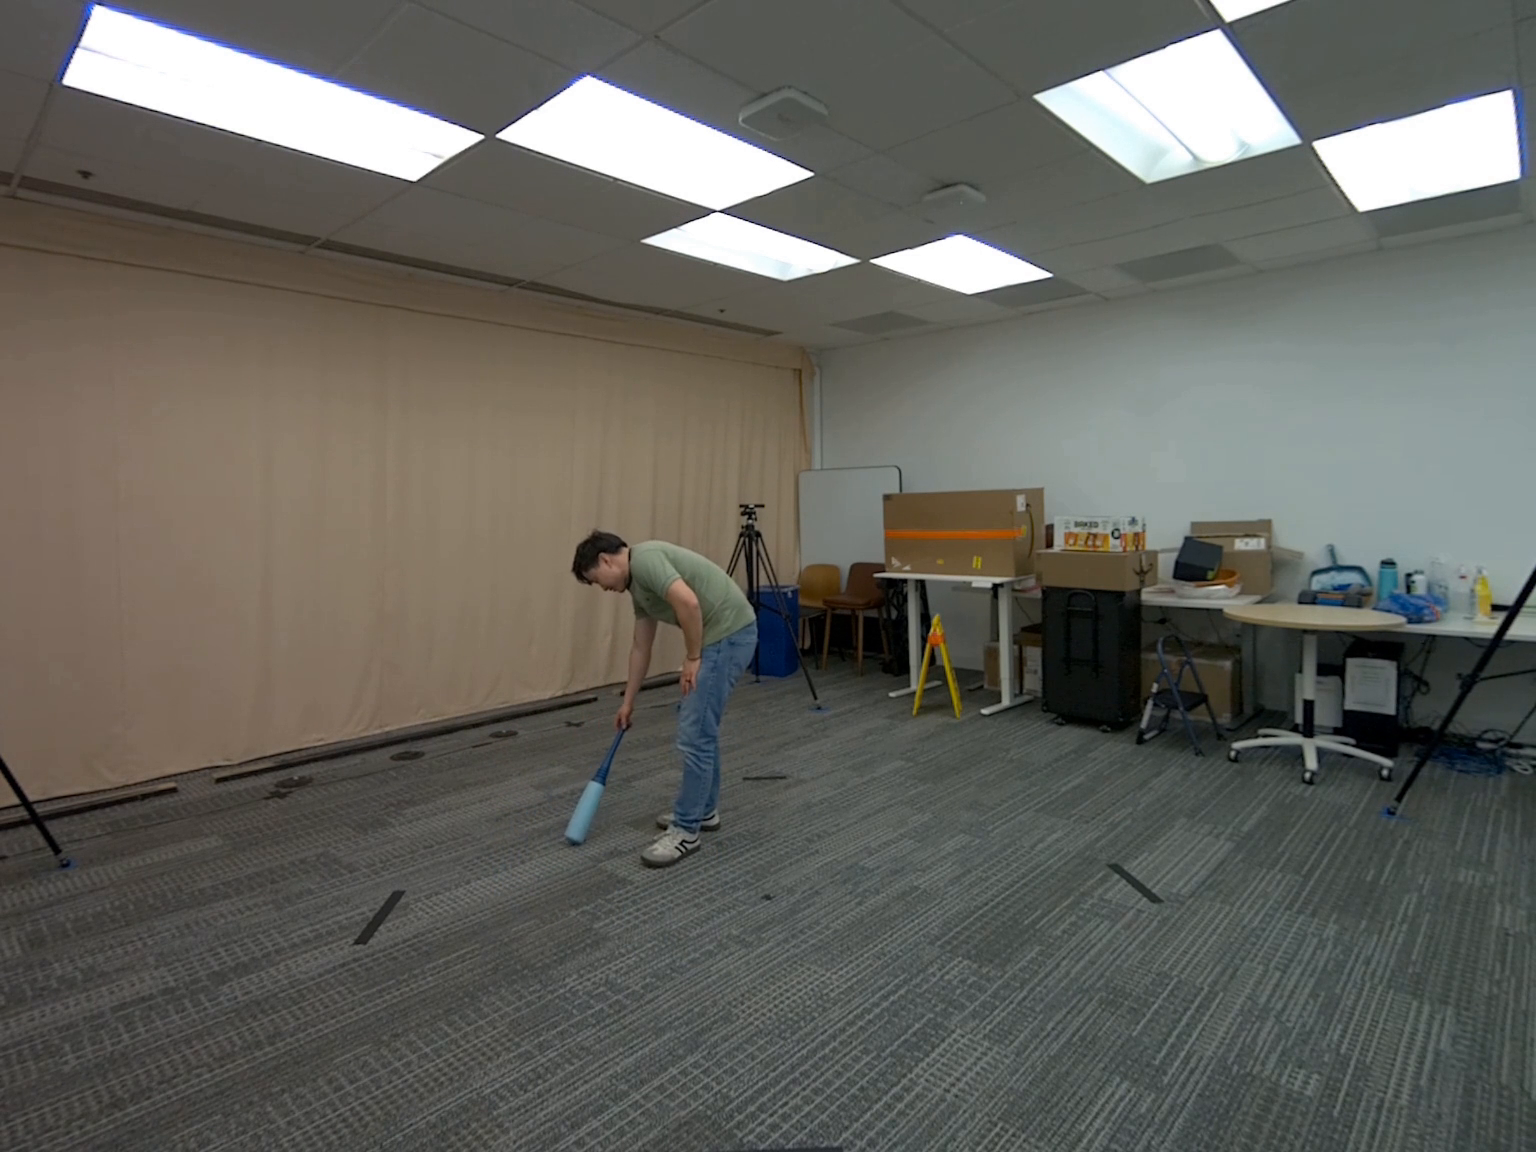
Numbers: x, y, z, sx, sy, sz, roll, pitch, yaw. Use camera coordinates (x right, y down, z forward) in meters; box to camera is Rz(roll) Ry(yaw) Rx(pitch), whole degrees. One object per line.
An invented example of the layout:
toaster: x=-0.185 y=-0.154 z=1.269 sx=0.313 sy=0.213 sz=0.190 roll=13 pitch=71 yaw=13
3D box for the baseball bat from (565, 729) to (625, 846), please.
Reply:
baseball bat: x=-0.714 y=0.871 z=3.596 sx=0.090 sy=0.545 sz=0.088 roll=17 pitch=-26 yaw=7
